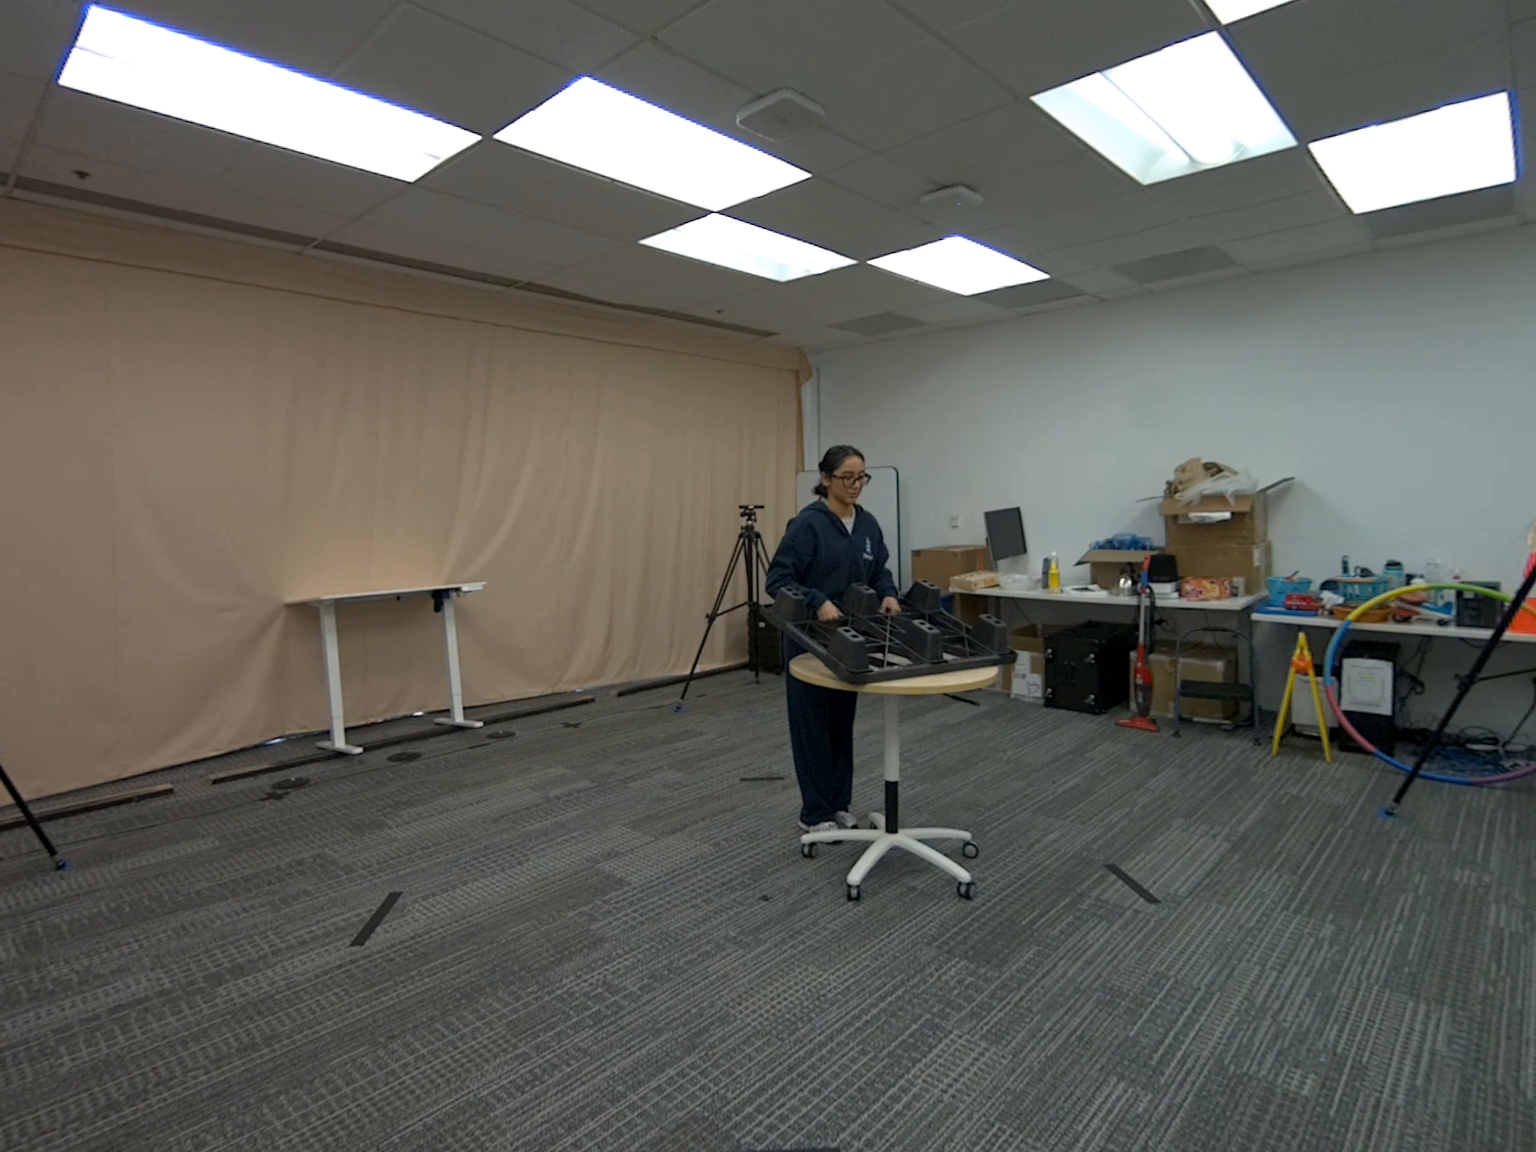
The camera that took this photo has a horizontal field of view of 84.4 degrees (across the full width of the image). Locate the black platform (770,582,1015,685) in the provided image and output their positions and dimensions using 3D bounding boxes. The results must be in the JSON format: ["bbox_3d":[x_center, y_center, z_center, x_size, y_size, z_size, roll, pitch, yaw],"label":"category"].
[{"bbox_3d":[0.469,0.181,3.195,0.784,0.142,0.627,-3,21,-31],"label":"black platform"}]
